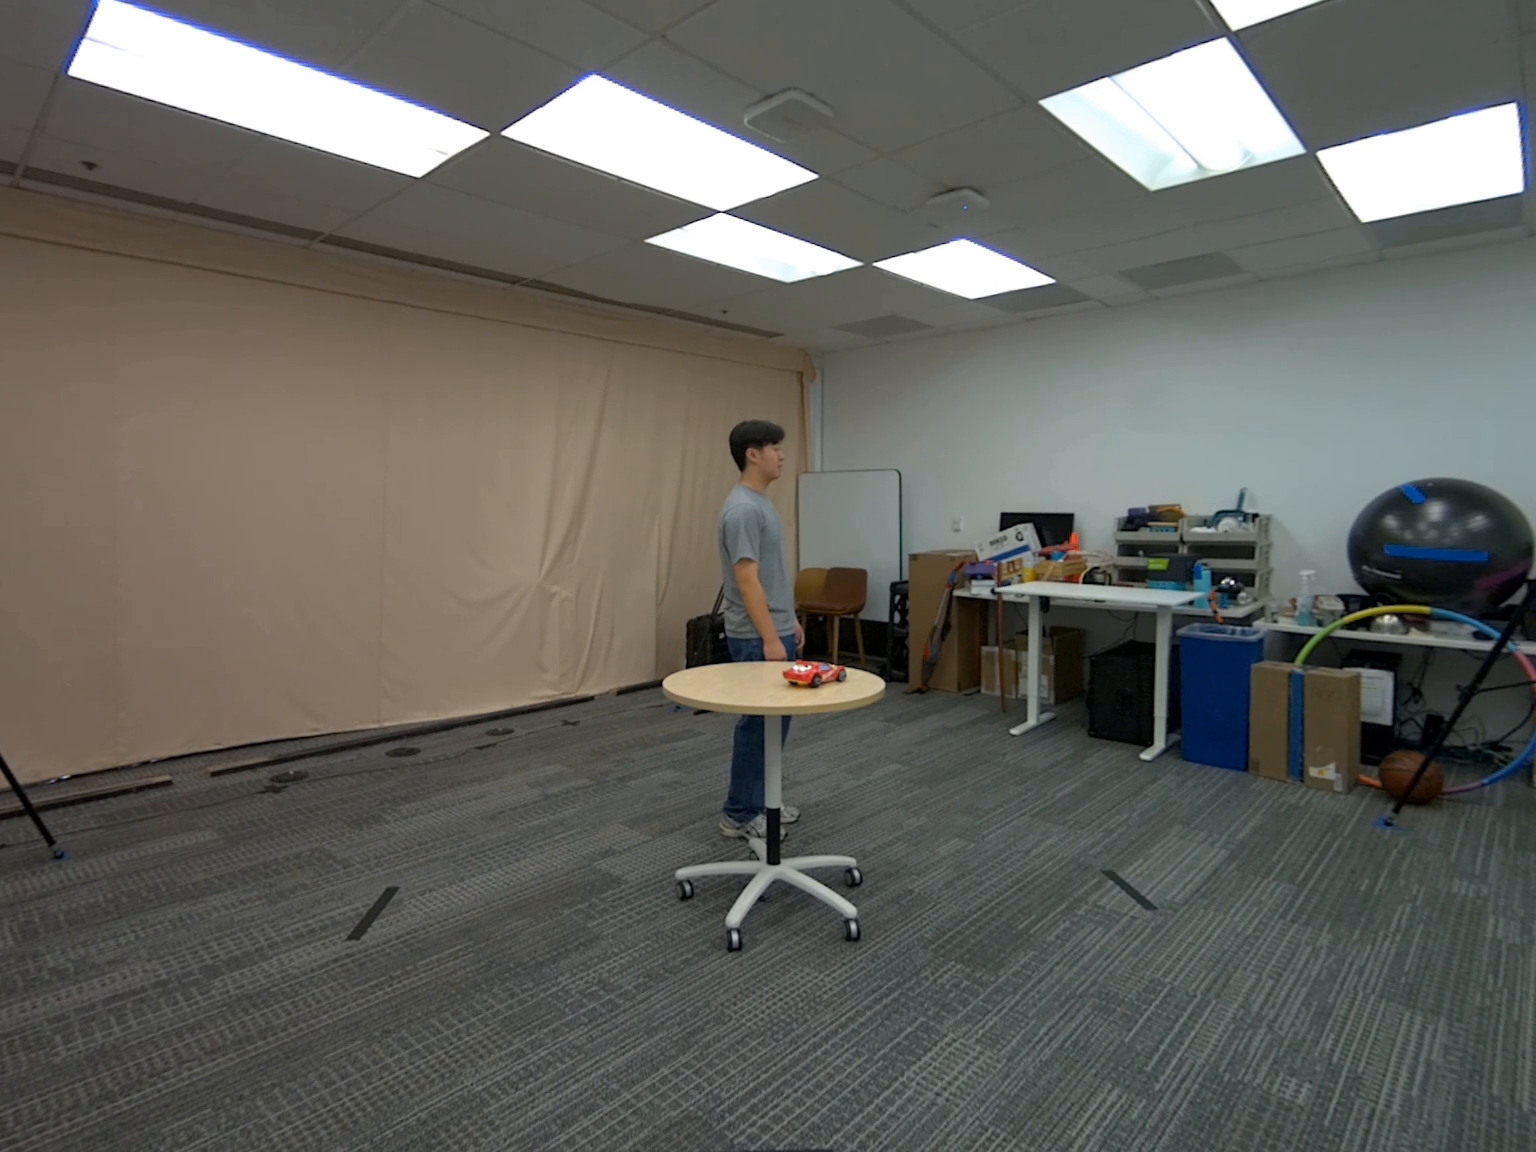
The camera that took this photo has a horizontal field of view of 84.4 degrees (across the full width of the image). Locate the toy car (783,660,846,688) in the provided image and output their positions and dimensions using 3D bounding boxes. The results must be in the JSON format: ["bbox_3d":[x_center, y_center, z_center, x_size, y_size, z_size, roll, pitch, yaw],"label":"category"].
[{"bbox_3d":[0.160,0.338,2.869,0.135,0.083,0.246,4,-5,44],"label":"toy car"}]
